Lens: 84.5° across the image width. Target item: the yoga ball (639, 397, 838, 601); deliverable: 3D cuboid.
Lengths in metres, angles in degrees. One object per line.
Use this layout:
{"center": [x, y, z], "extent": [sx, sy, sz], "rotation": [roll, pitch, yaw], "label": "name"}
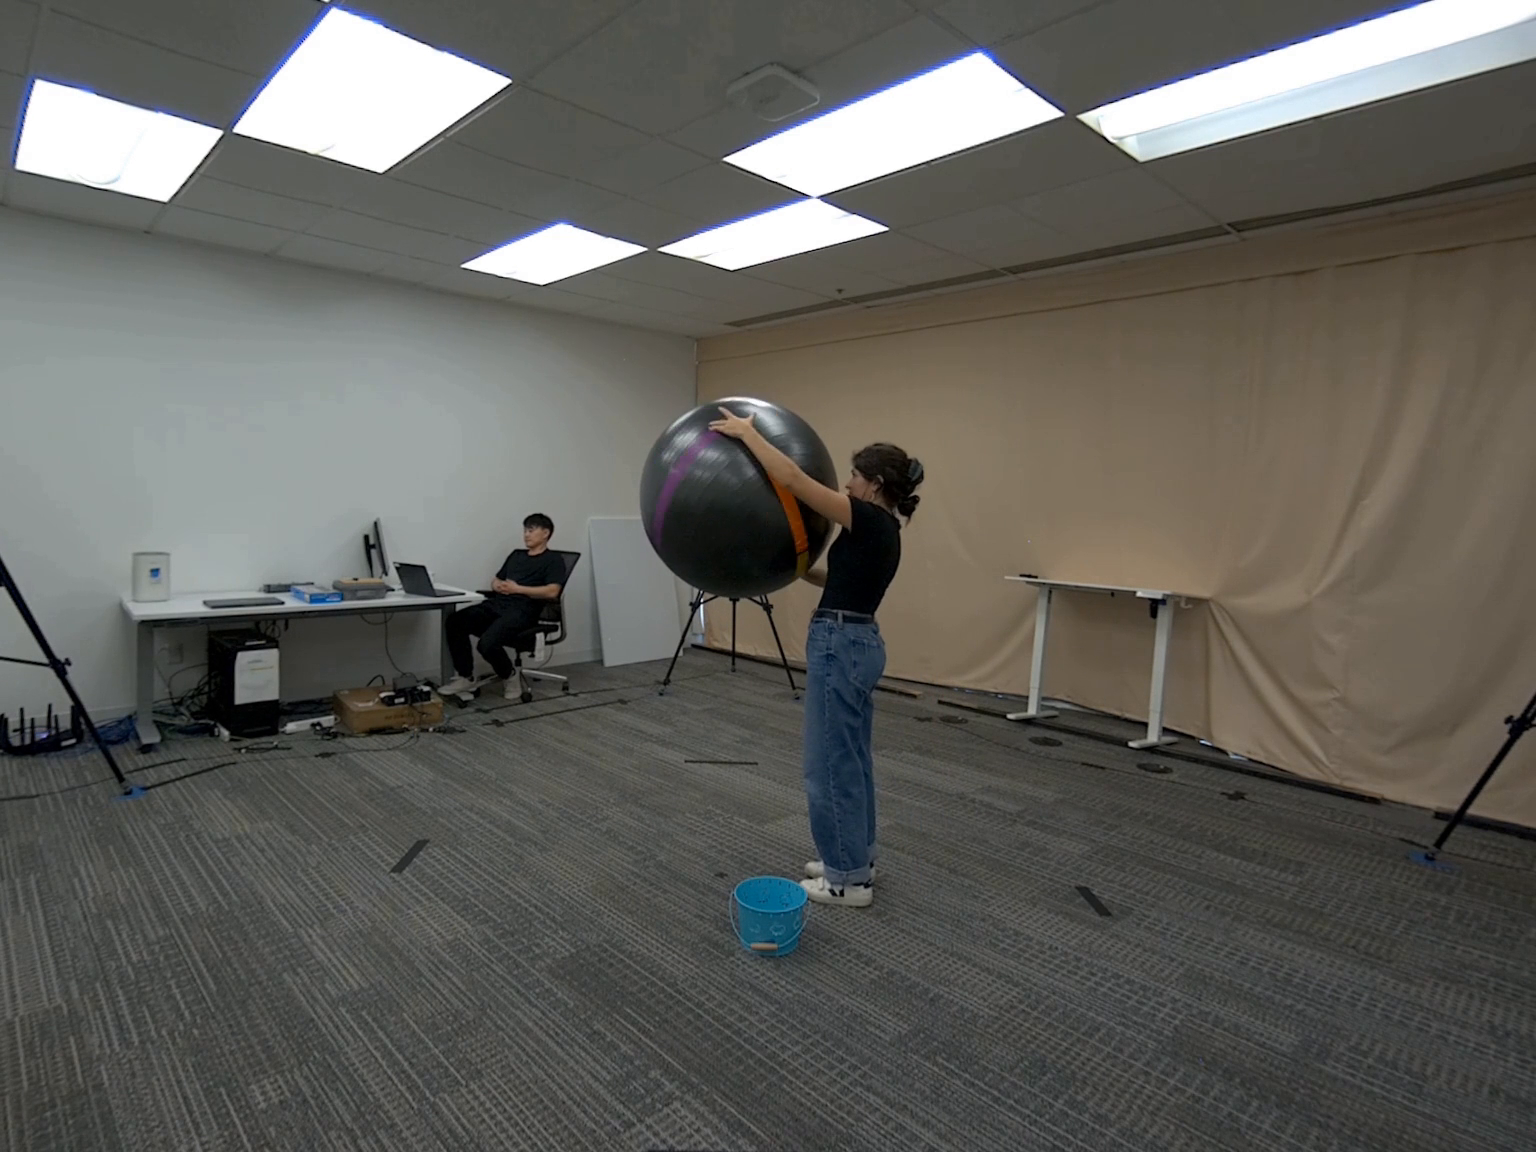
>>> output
{"center": [-0.117, -0.293, 3.196], "extent": [0.757, 0.756, 0.761], "rotation": [1, 4, -1], "label": "yoga ball"}
